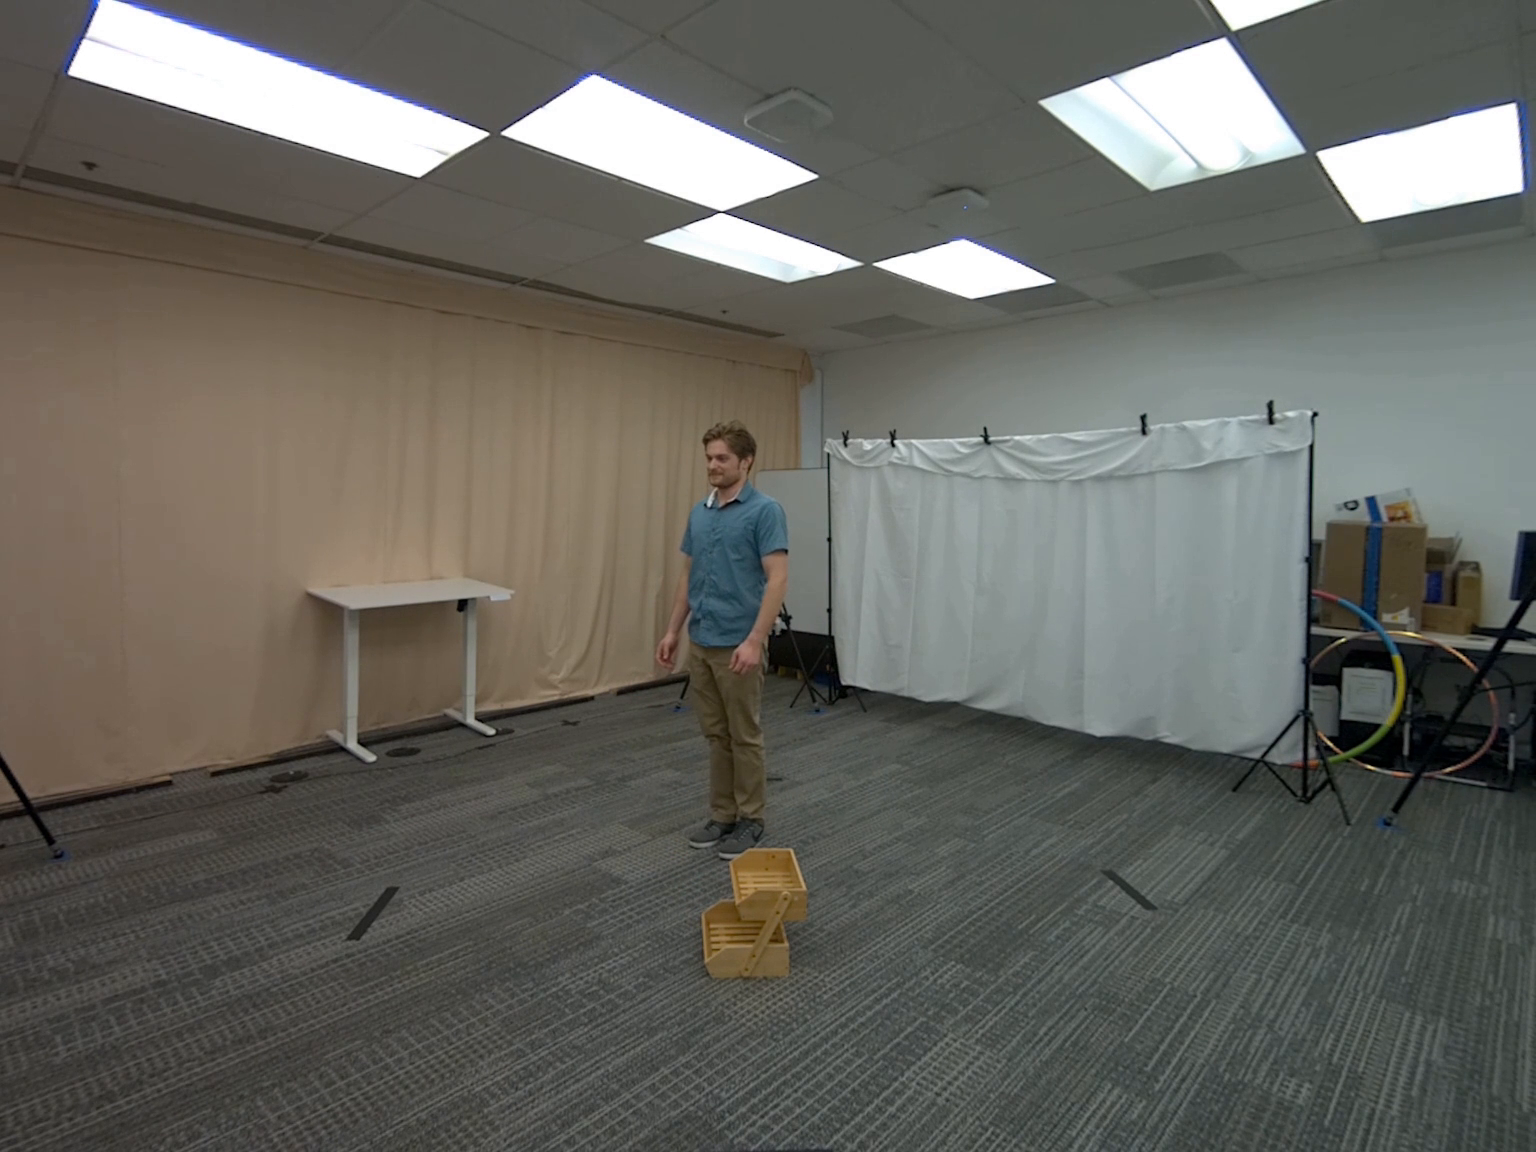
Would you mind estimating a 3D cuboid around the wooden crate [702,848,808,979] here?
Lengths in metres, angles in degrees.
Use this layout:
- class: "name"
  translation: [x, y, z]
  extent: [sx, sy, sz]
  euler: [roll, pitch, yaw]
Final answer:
- class: "wooden crate"
  translation: [-0.054, 1.037, 2.625]
  extent: [0.300, 0.273, 0.327]
  euler: [0, 3, -6]
